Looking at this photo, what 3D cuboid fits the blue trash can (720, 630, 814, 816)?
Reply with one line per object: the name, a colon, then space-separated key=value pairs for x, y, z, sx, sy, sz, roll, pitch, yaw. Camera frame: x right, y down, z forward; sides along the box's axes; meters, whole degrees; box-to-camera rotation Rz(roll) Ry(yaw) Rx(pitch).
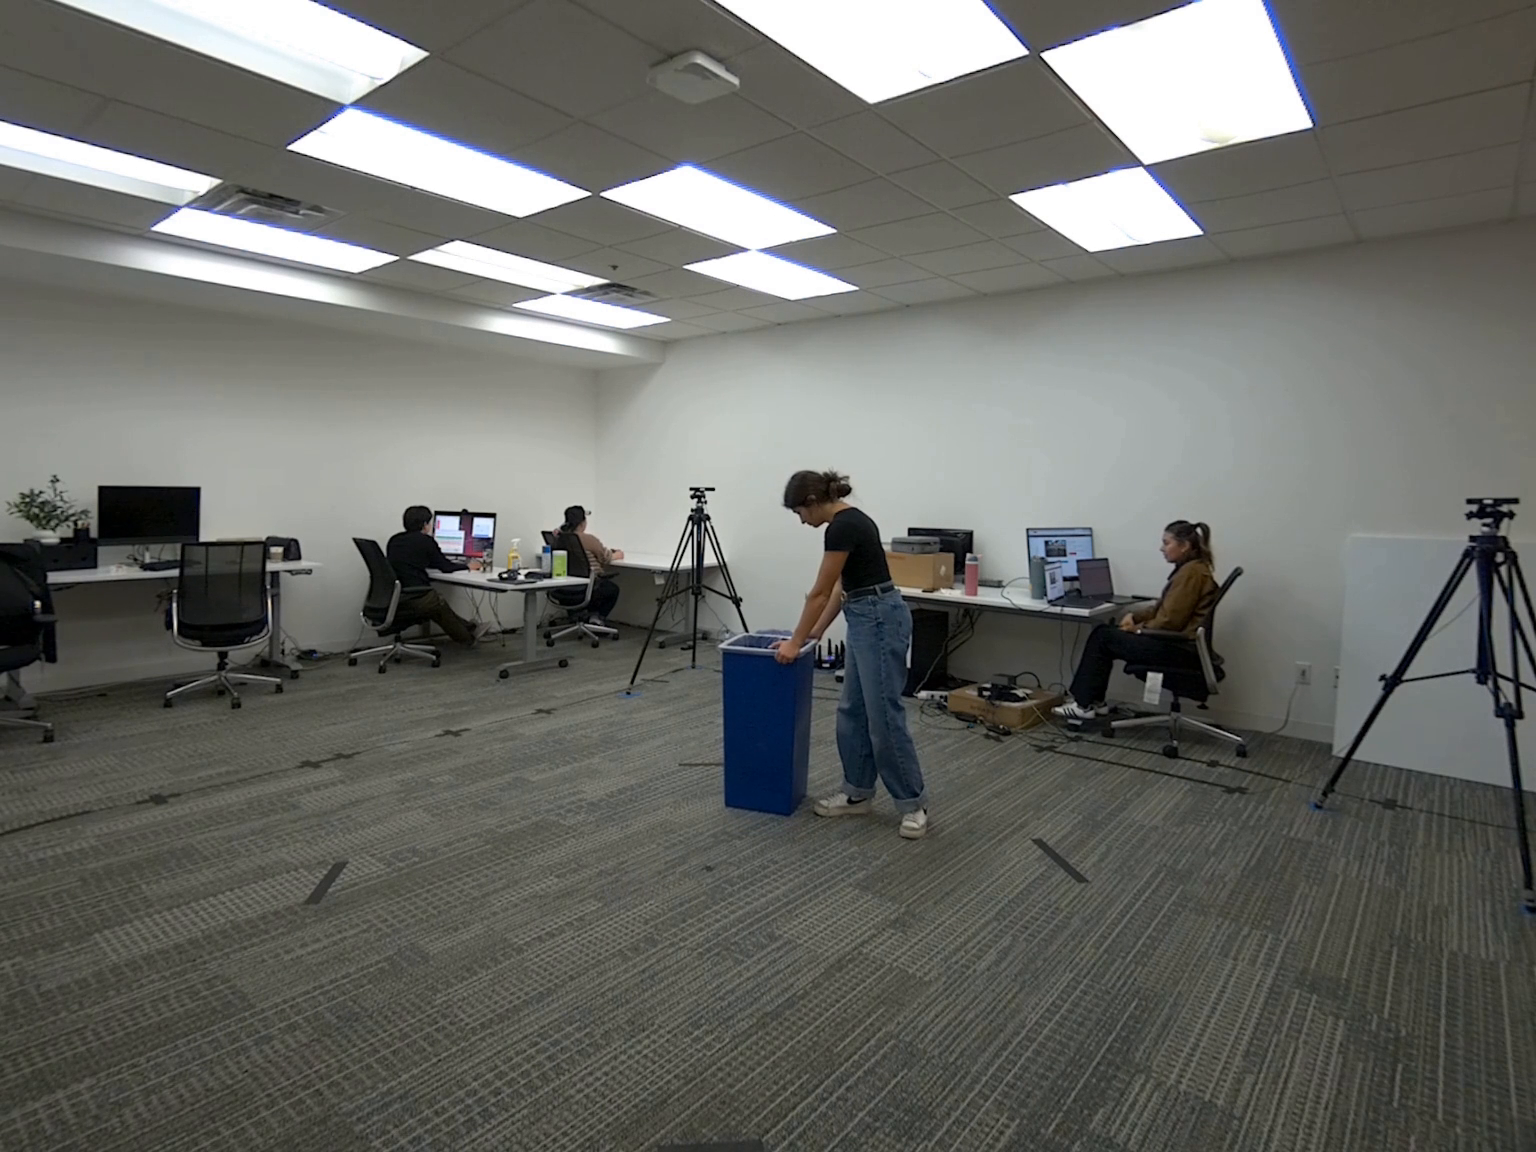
blue trash can: x=-0.006 y=0.646 z=3.795 sx=0.386 sy=0.712 sz=0.367 roll=2 pitch=3 yaw=19
